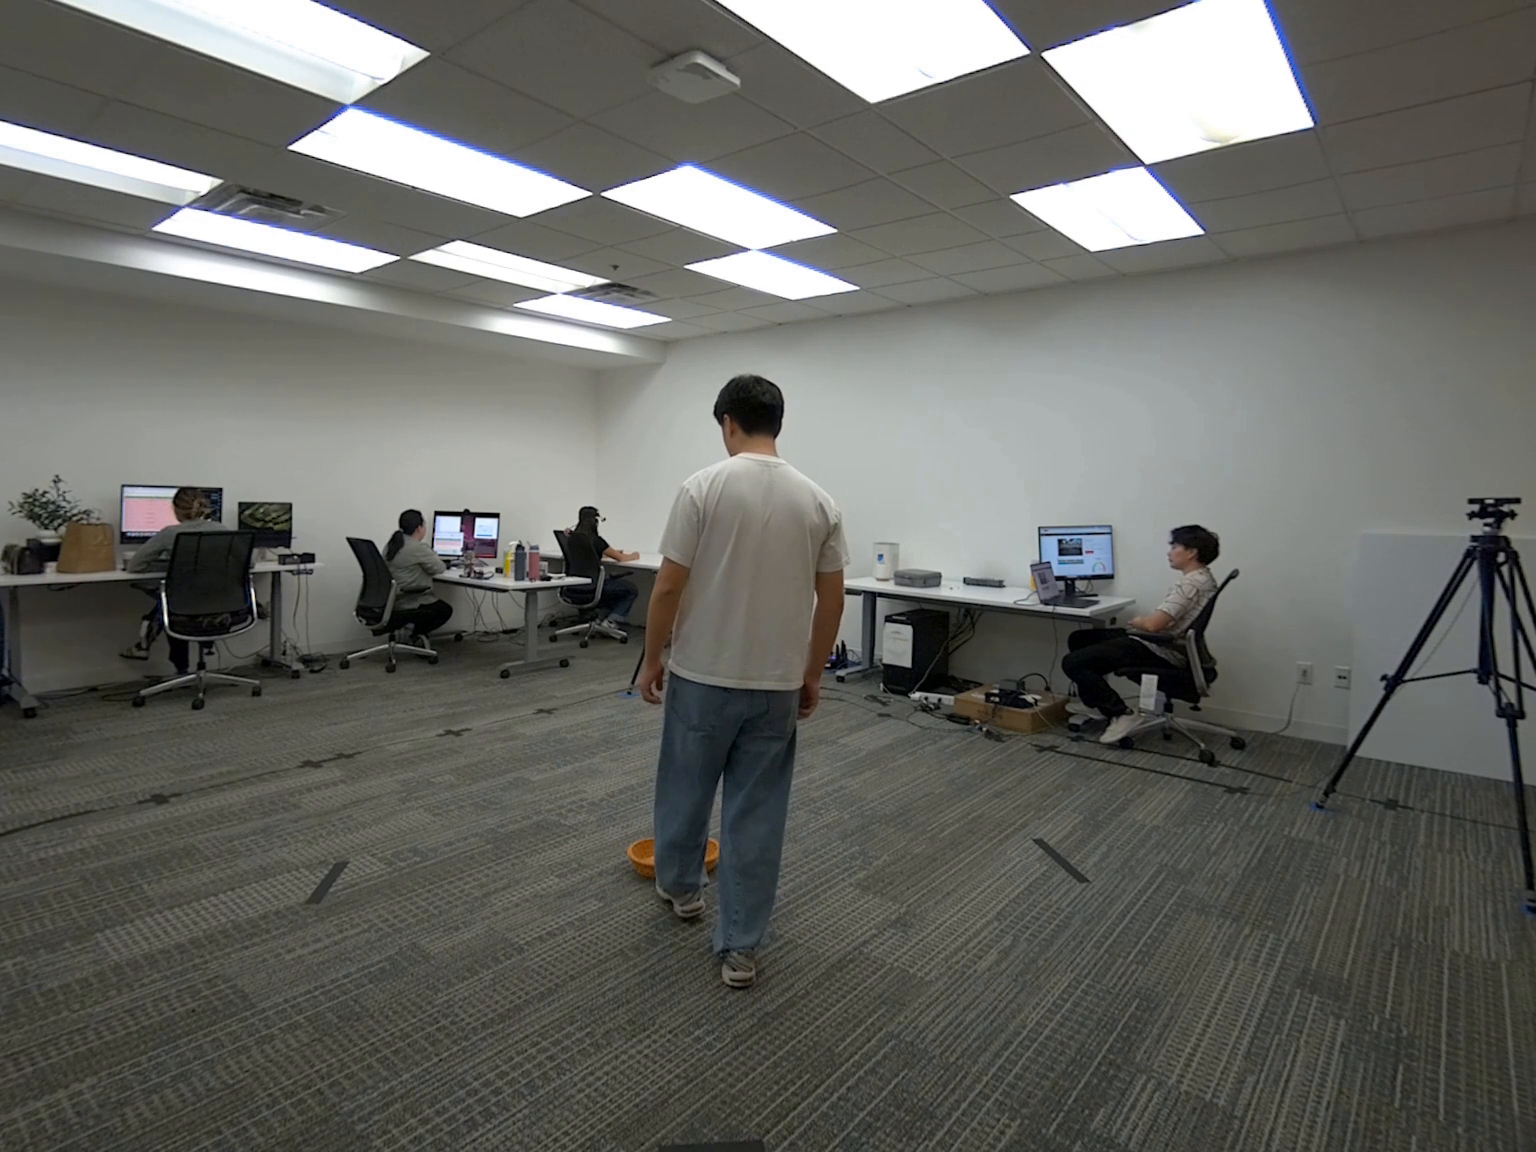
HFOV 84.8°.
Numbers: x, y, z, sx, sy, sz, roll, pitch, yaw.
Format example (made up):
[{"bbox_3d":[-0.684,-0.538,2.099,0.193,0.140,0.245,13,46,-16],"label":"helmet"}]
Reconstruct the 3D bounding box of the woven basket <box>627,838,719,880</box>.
[{"bbox_3d":[-0.356,1.017,3.099,0.346,0.073,0.256,0,3,-11],"label":"woven basket"}]
